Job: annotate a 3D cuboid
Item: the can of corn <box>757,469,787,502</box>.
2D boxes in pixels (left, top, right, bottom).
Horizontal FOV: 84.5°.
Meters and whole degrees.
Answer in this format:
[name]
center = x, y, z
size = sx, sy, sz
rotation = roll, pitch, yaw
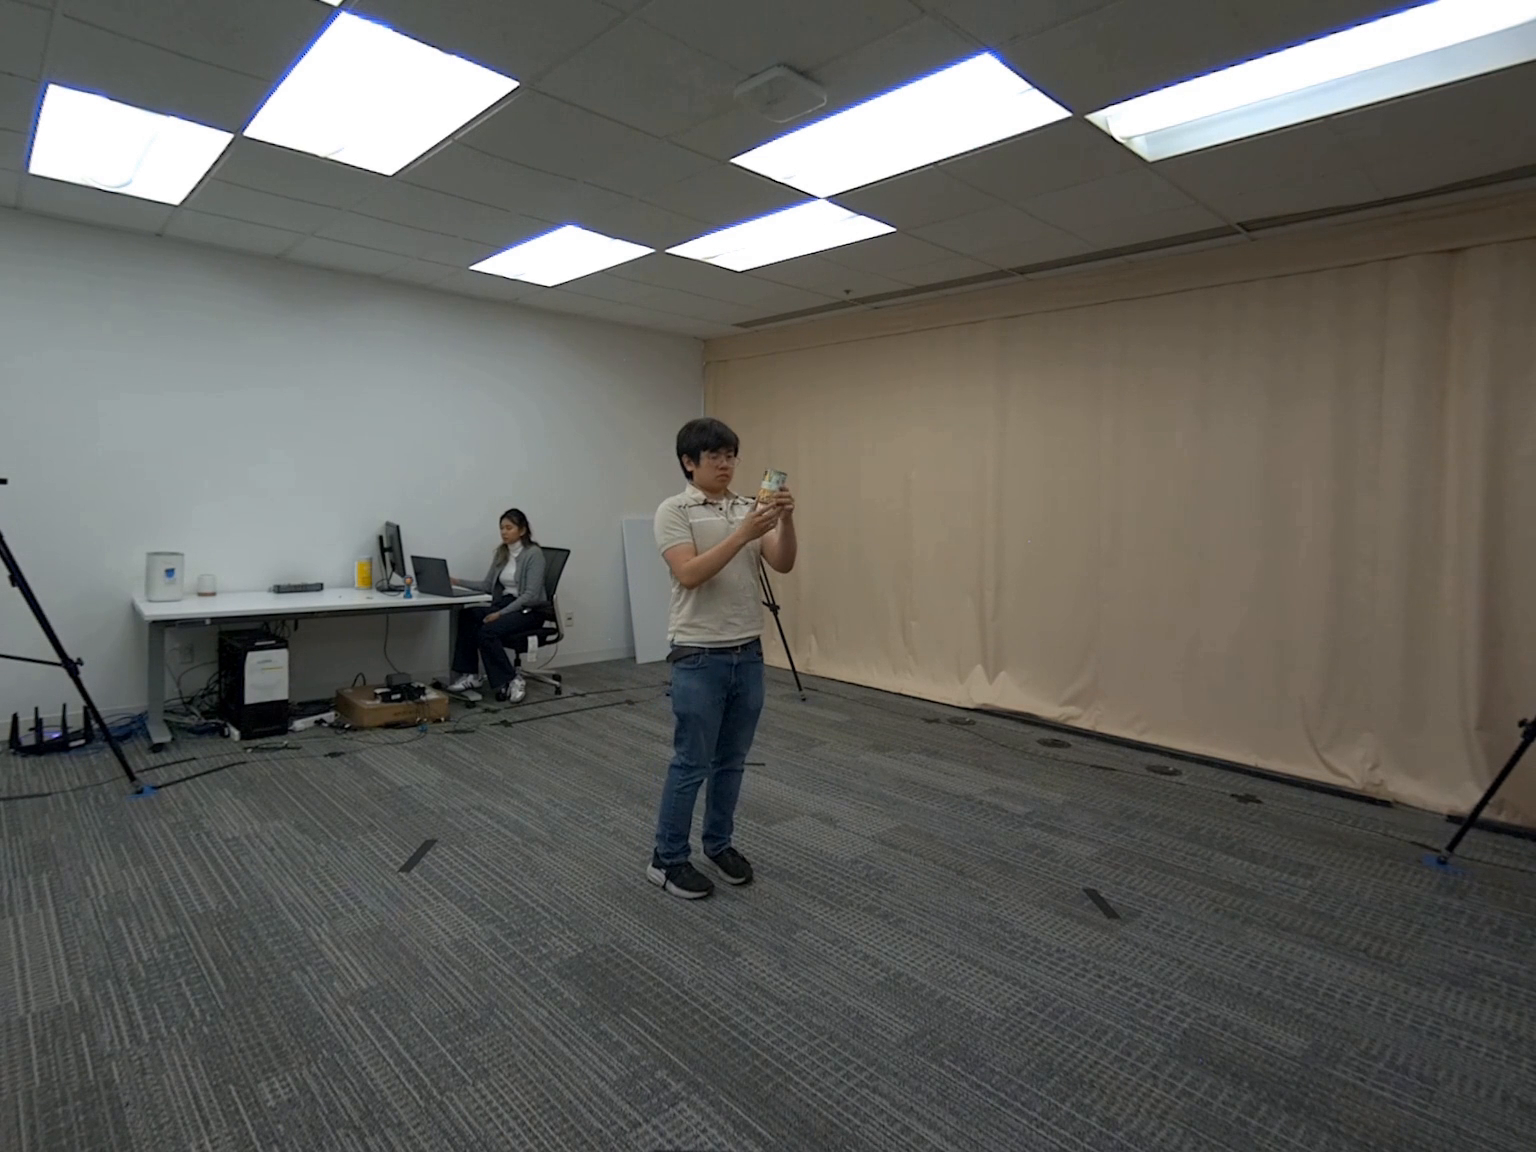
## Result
[can of corn]
center = -0.006, -0.293, 2.801
size = 0.074, 0.111, 0.074
rotation = 17, 1, -2
